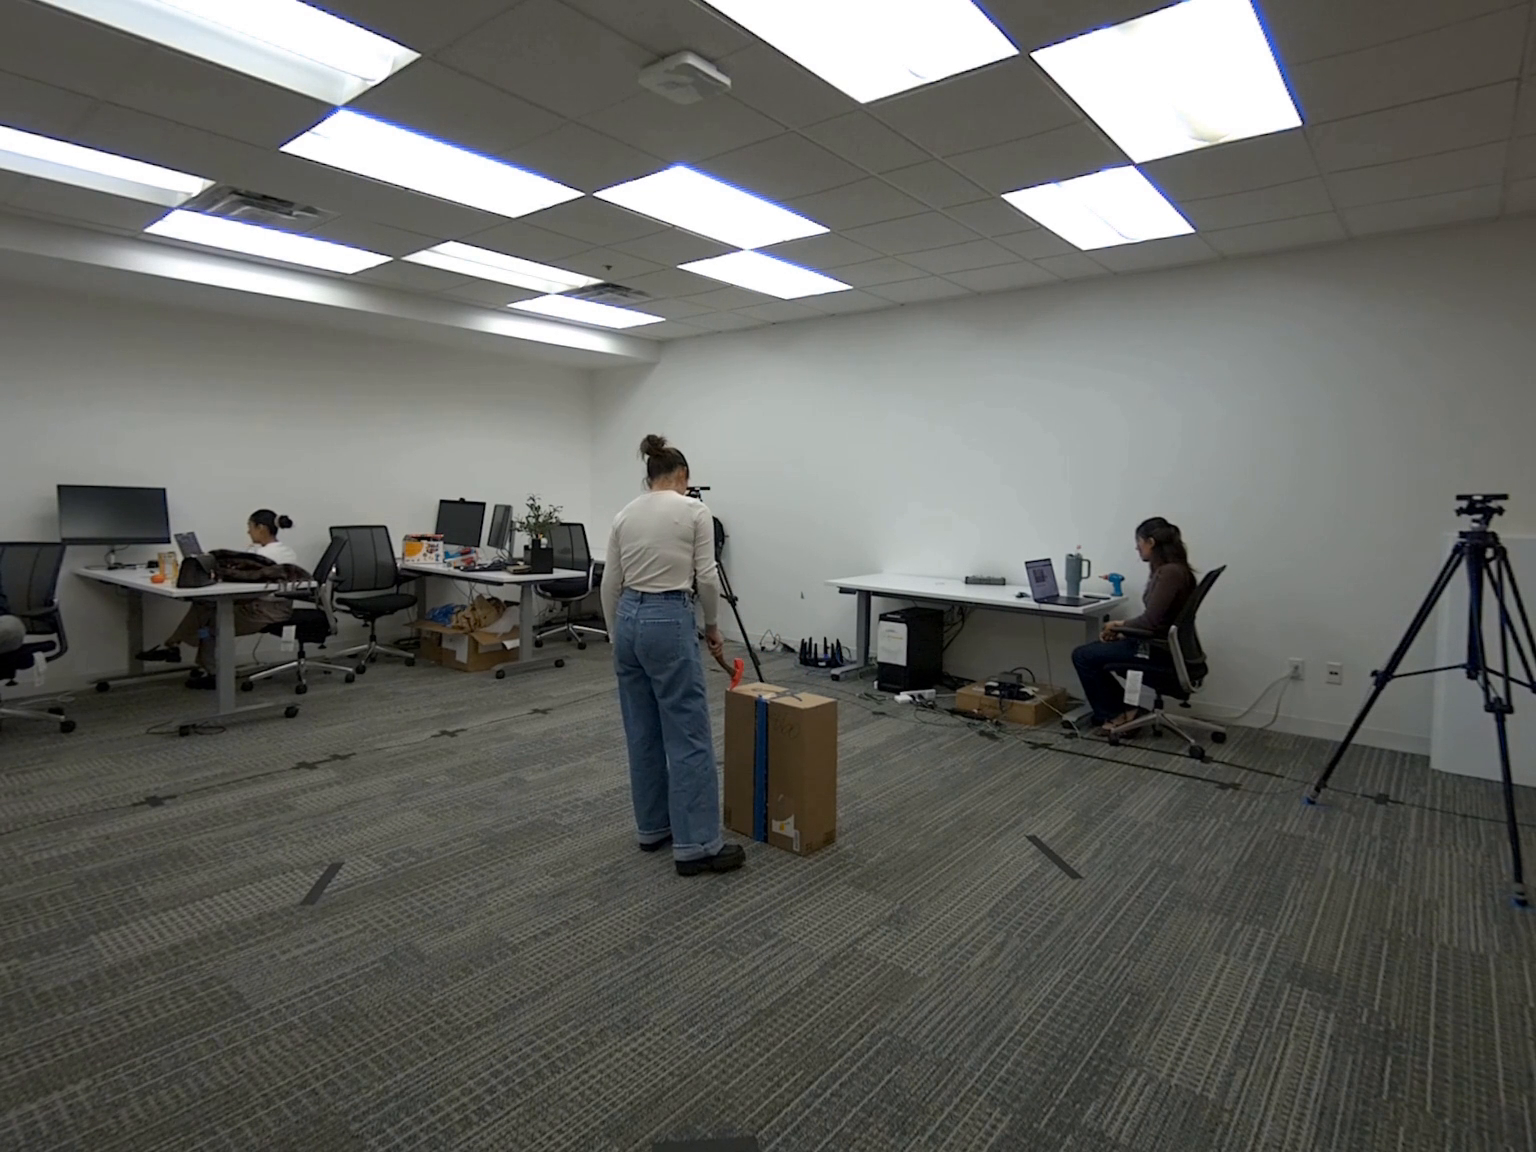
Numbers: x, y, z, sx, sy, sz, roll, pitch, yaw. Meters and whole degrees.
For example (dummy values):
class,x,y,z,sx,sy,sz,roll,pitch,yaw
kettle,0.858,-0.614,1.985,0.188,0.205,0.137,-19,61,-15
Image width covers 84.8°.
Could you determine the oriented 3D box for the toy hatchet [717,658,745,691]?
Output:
class,x,y,z,sx,sy,sz,roll,pitch,yaw
toy hatchet,-0.151,0.330,3.448,0.030,0.260,0.131,6,47,38
